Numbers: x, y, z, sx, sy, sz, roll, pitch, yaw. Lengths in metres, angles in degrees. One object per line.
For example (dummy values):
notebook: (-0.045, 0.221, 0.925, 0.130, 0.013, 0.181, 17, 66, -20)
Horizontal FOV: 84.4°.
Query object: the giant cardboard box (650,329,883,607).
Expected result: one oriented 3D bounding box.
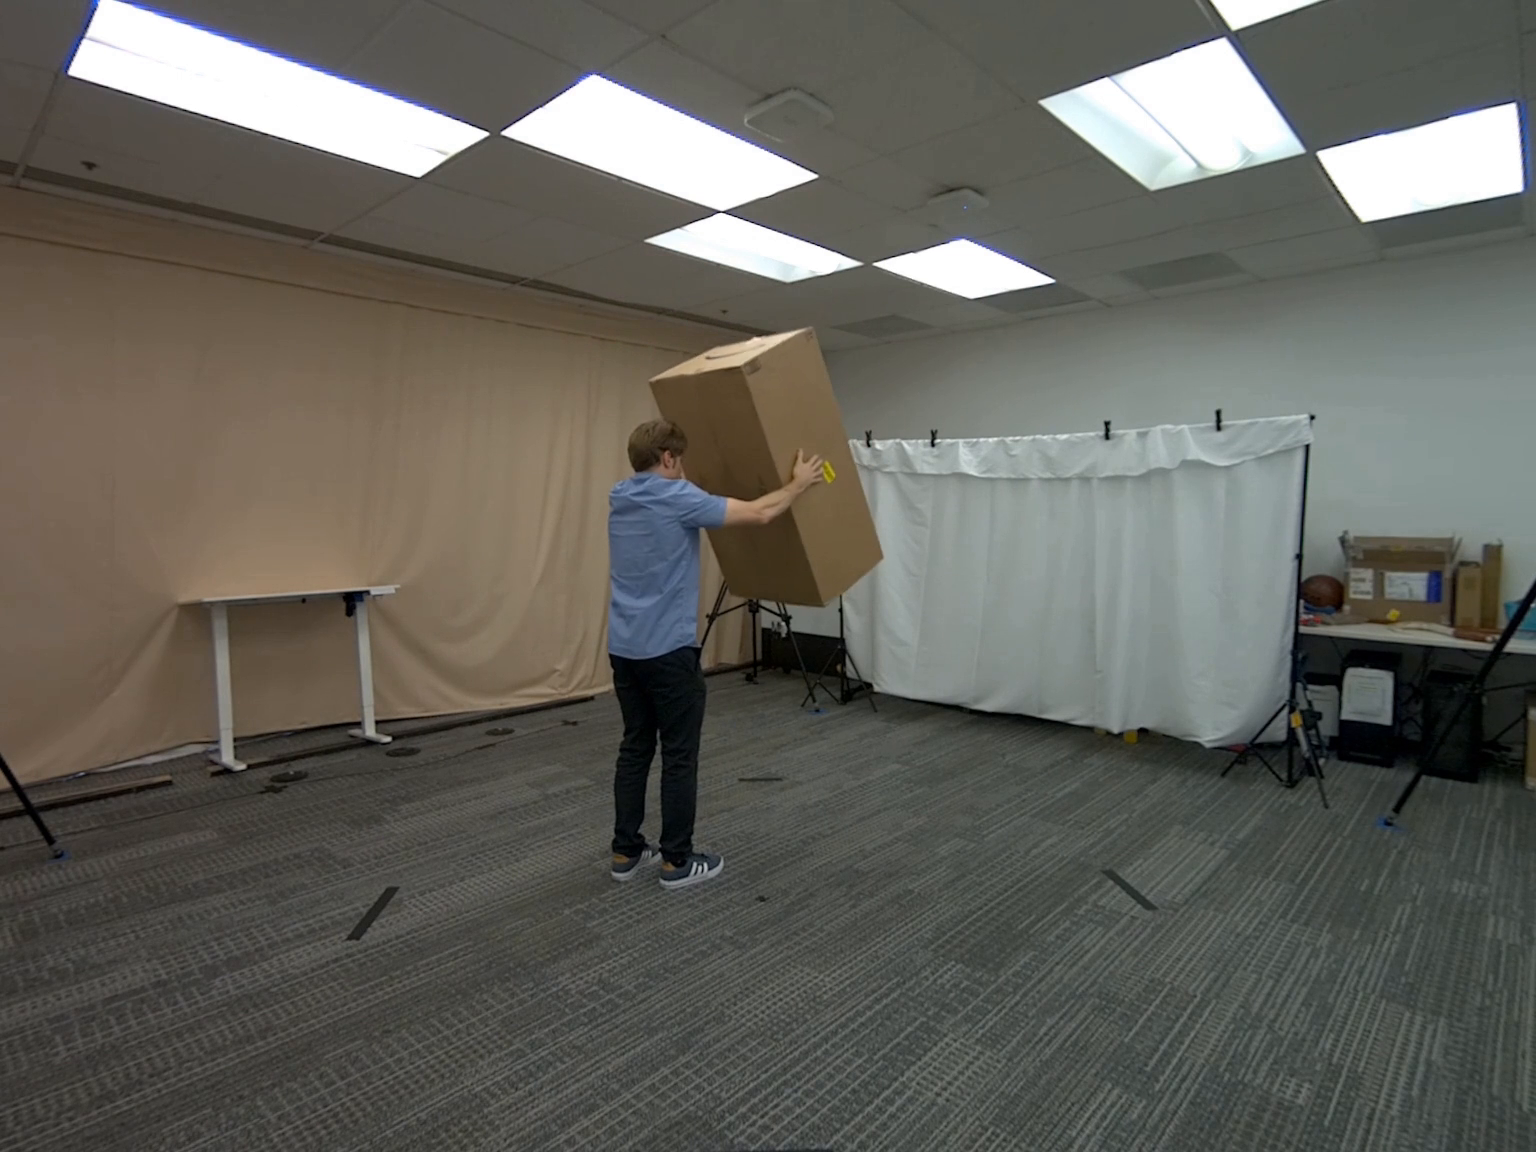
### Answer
giant cardboard box: (0.001, -0.430, 3.514, 0.420, 1.007, 0.597, -35, 25, -35)
